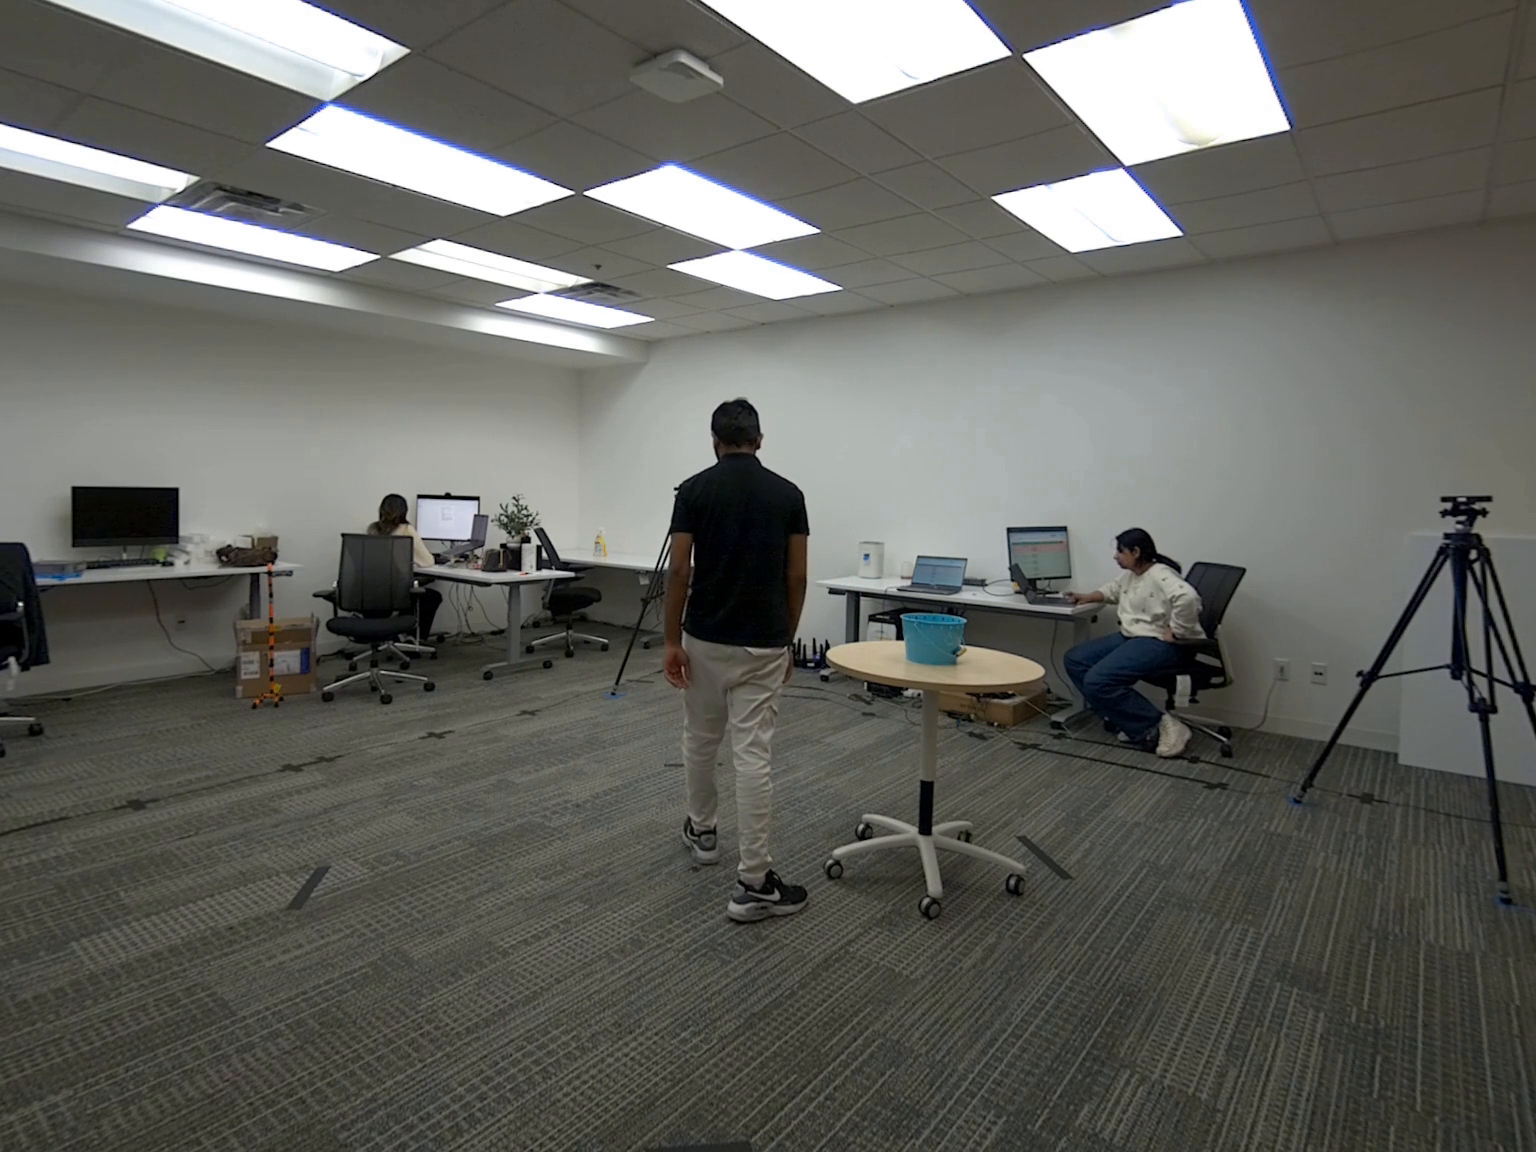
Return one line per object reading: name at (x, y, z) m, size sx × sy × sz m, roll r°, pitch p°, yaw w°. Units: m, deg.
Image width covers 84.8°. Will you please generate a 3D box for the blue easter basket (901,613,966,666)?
blue easter basket at (0.594, 0.230, 3.081) m, size 0.243 × 0.155 × 0.245 m, roll 1°, pitch 5°, yaw -2°
